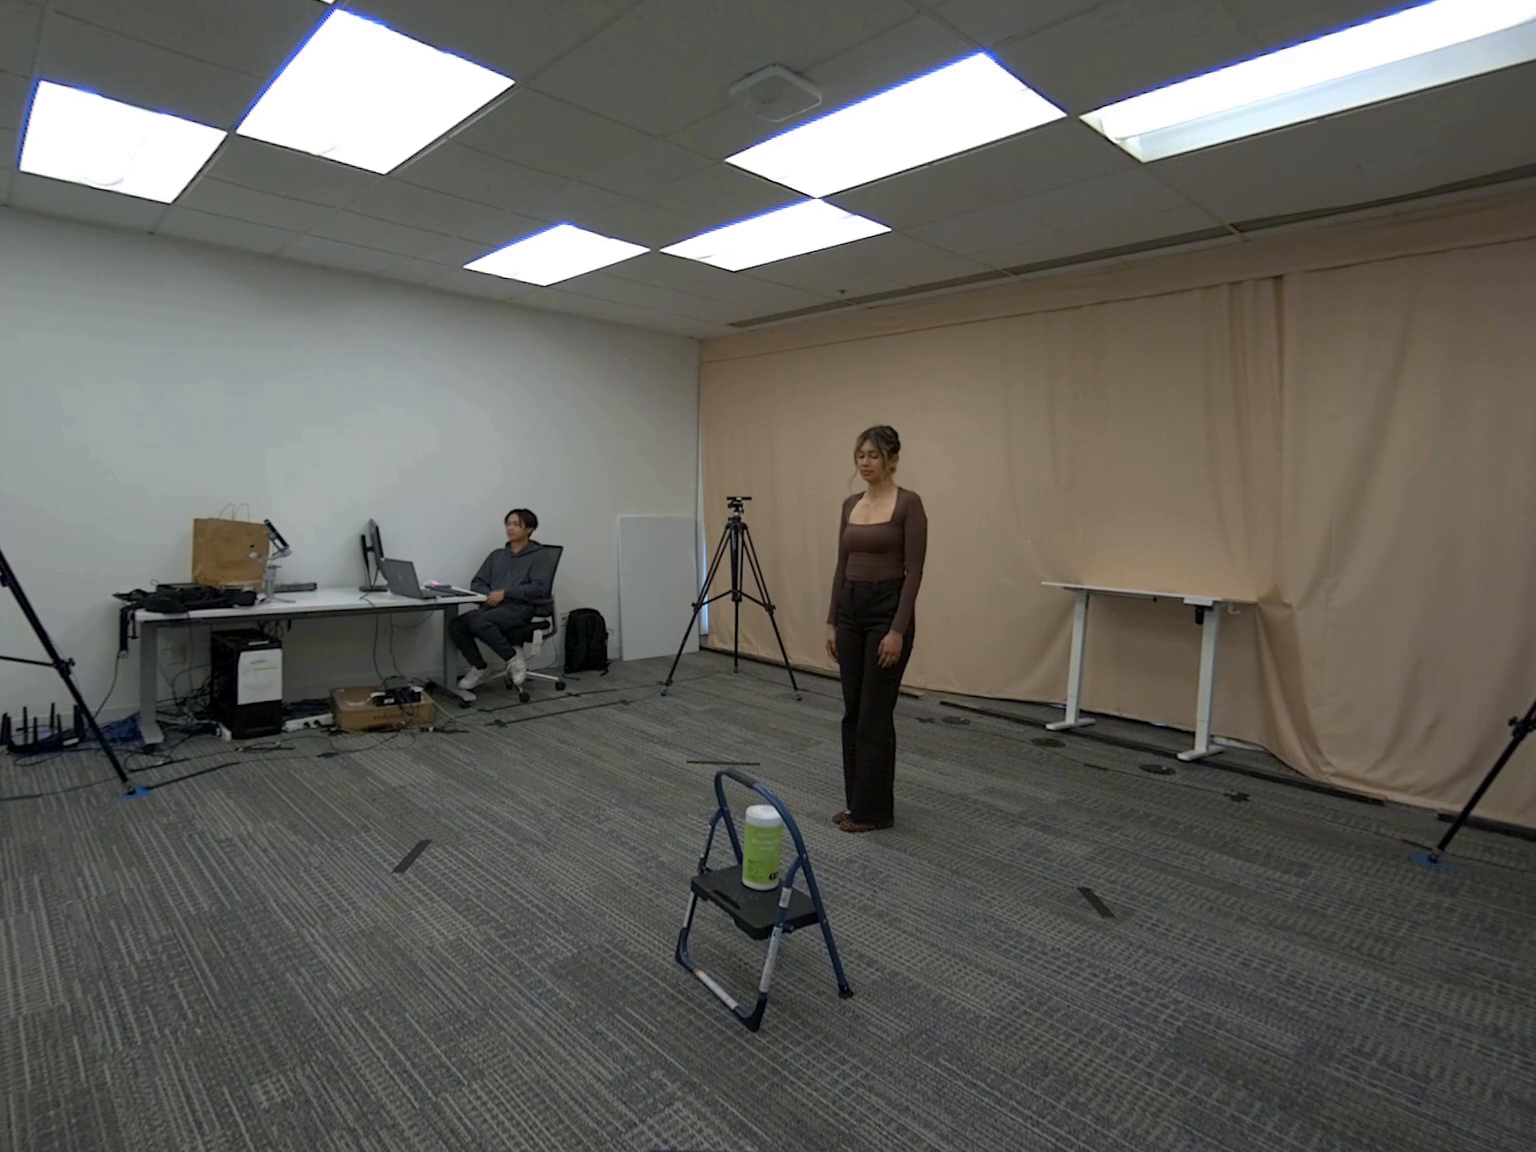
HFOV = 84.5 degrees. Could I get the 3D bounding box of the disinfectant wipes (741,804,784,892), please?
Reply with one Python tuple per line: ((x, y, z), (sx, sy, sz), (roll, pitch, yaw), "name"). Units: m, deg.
((-0.027, 0.802, 2.466), (0.118, 0.217, 0.118), (4, 4, -2), "disinfectant wipes")
